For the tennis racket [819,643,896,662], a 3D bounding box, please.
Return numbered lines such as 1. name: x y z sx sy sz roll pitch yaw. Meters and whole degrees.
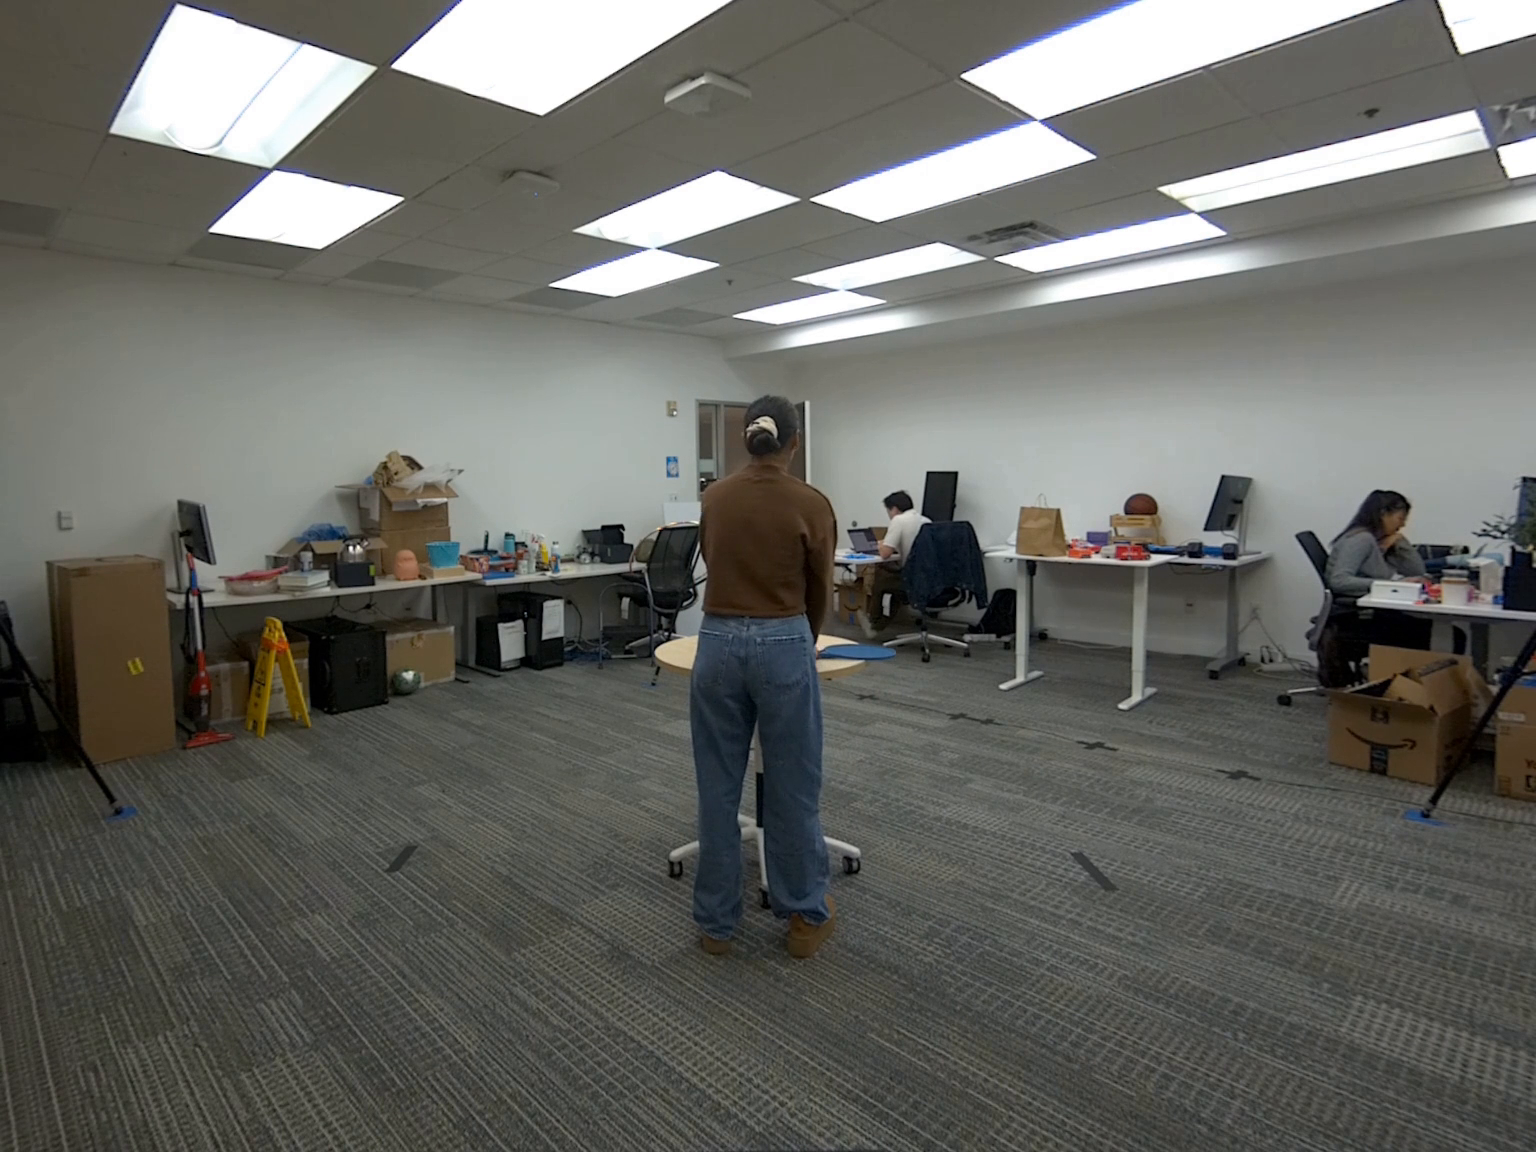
1. tennis racket: 0.257 0.265 2.963 0.422 0.031 0.220 -2 7 -31
